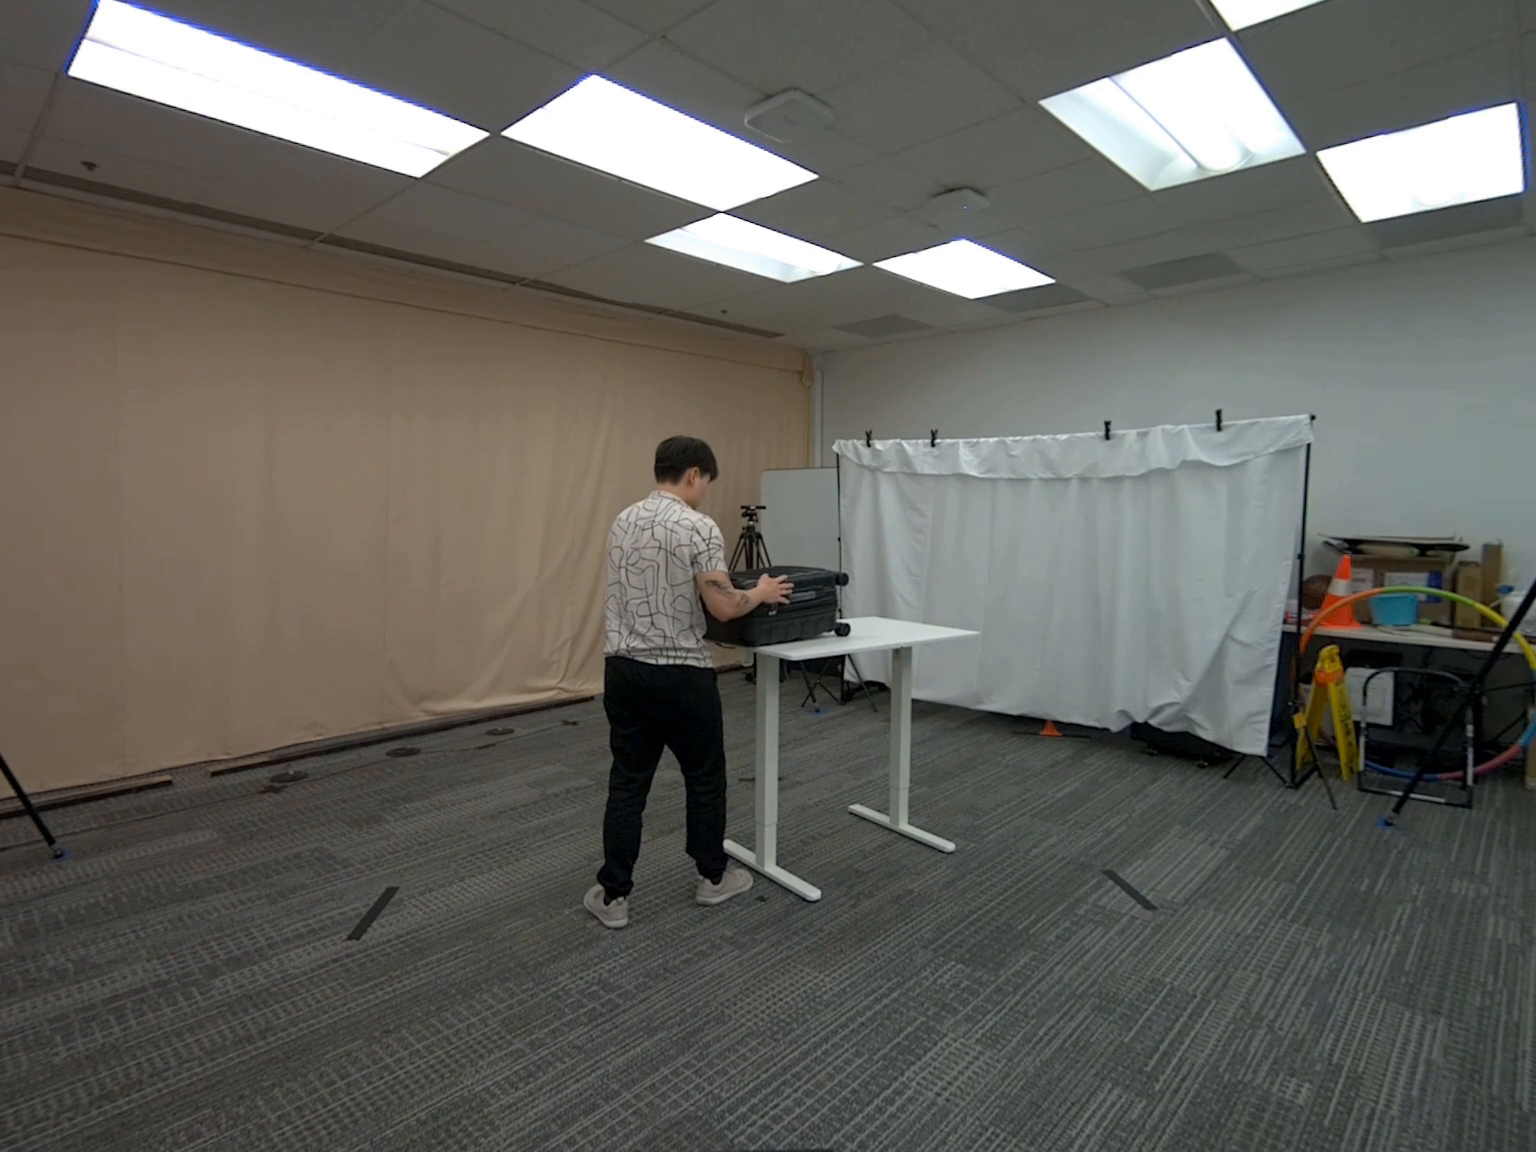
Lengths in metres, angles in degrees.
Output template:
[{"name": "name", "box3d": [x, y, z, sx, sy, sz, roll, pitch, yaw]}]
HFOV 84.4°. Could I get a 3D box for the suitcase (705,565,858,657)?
[{"name": "suitcase", "box3d": [0.007, 0.113, 3.217, 0.533, 0.247, 0.388, -8, 7, -41]}]
